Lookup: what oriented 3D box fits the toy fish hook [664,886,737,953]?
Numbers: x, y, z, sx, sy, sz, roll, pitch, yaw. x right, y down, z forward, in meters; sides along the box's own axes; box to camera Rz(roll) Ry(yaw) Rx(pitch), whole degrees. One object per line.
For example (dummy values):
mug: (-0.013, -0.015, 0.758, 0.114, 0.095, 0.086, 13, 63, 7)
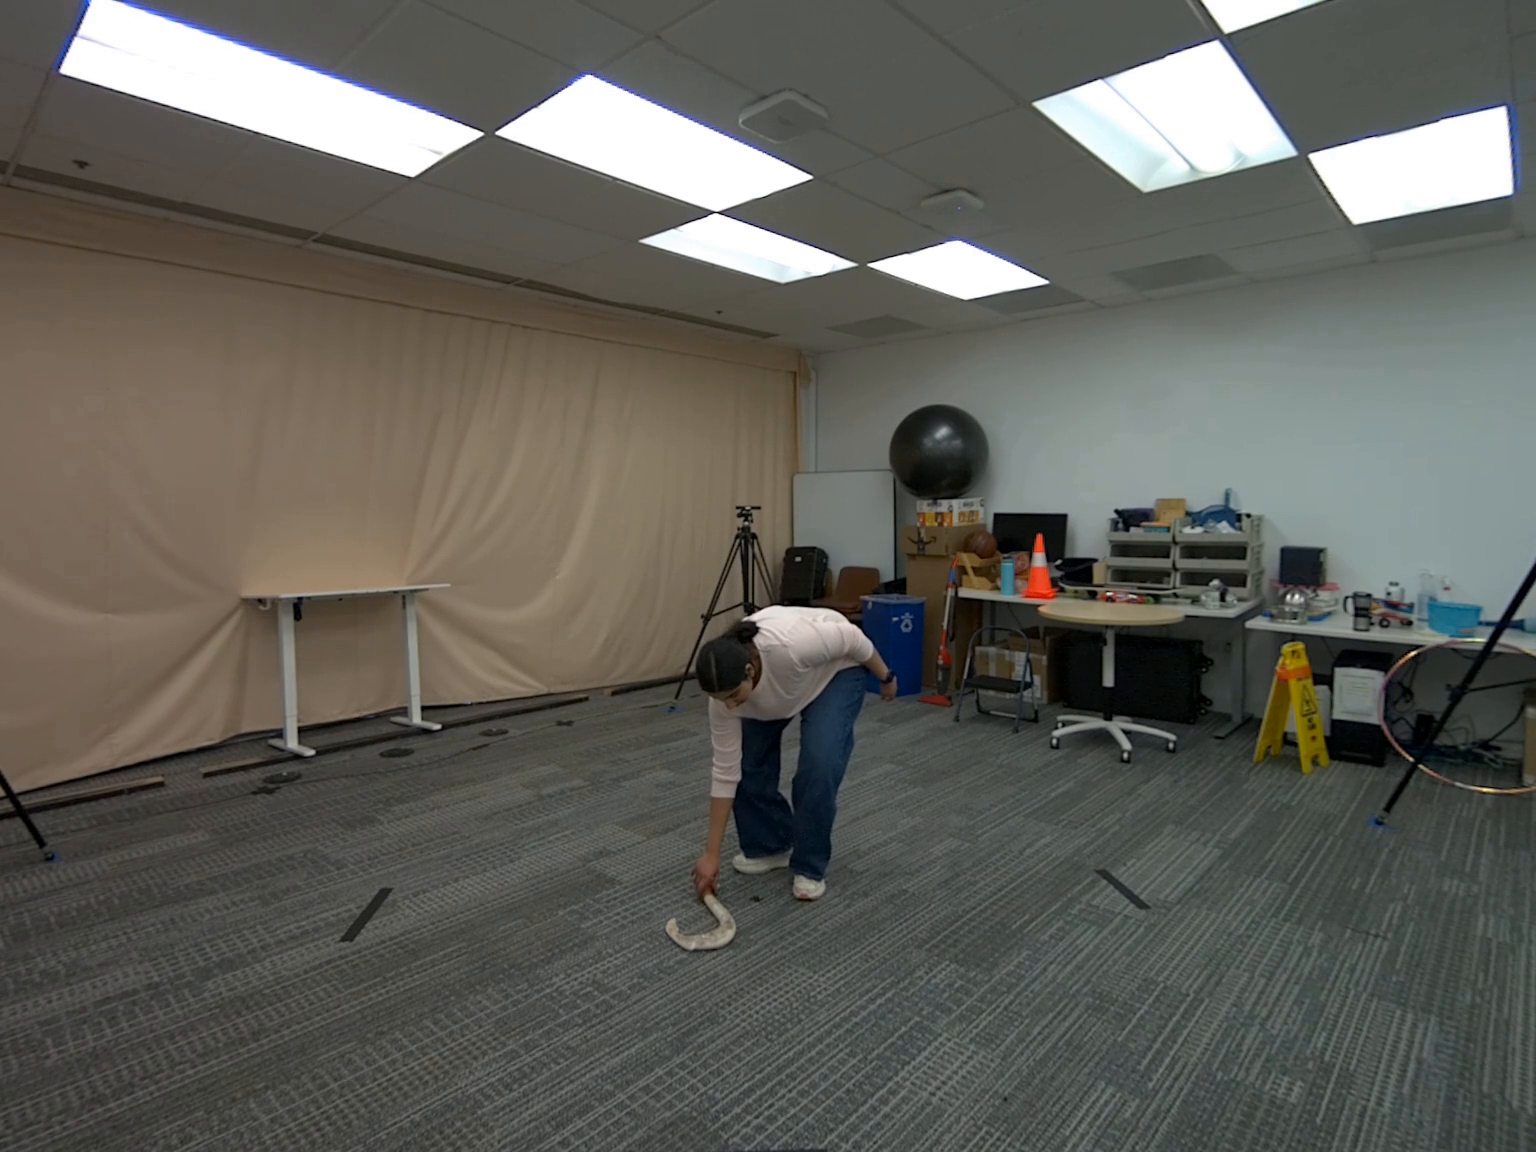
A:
toy fish hook: (-0.241, 1.128, 2.876, 0.222, 0.048, 0.513, 0, 5, -10)
